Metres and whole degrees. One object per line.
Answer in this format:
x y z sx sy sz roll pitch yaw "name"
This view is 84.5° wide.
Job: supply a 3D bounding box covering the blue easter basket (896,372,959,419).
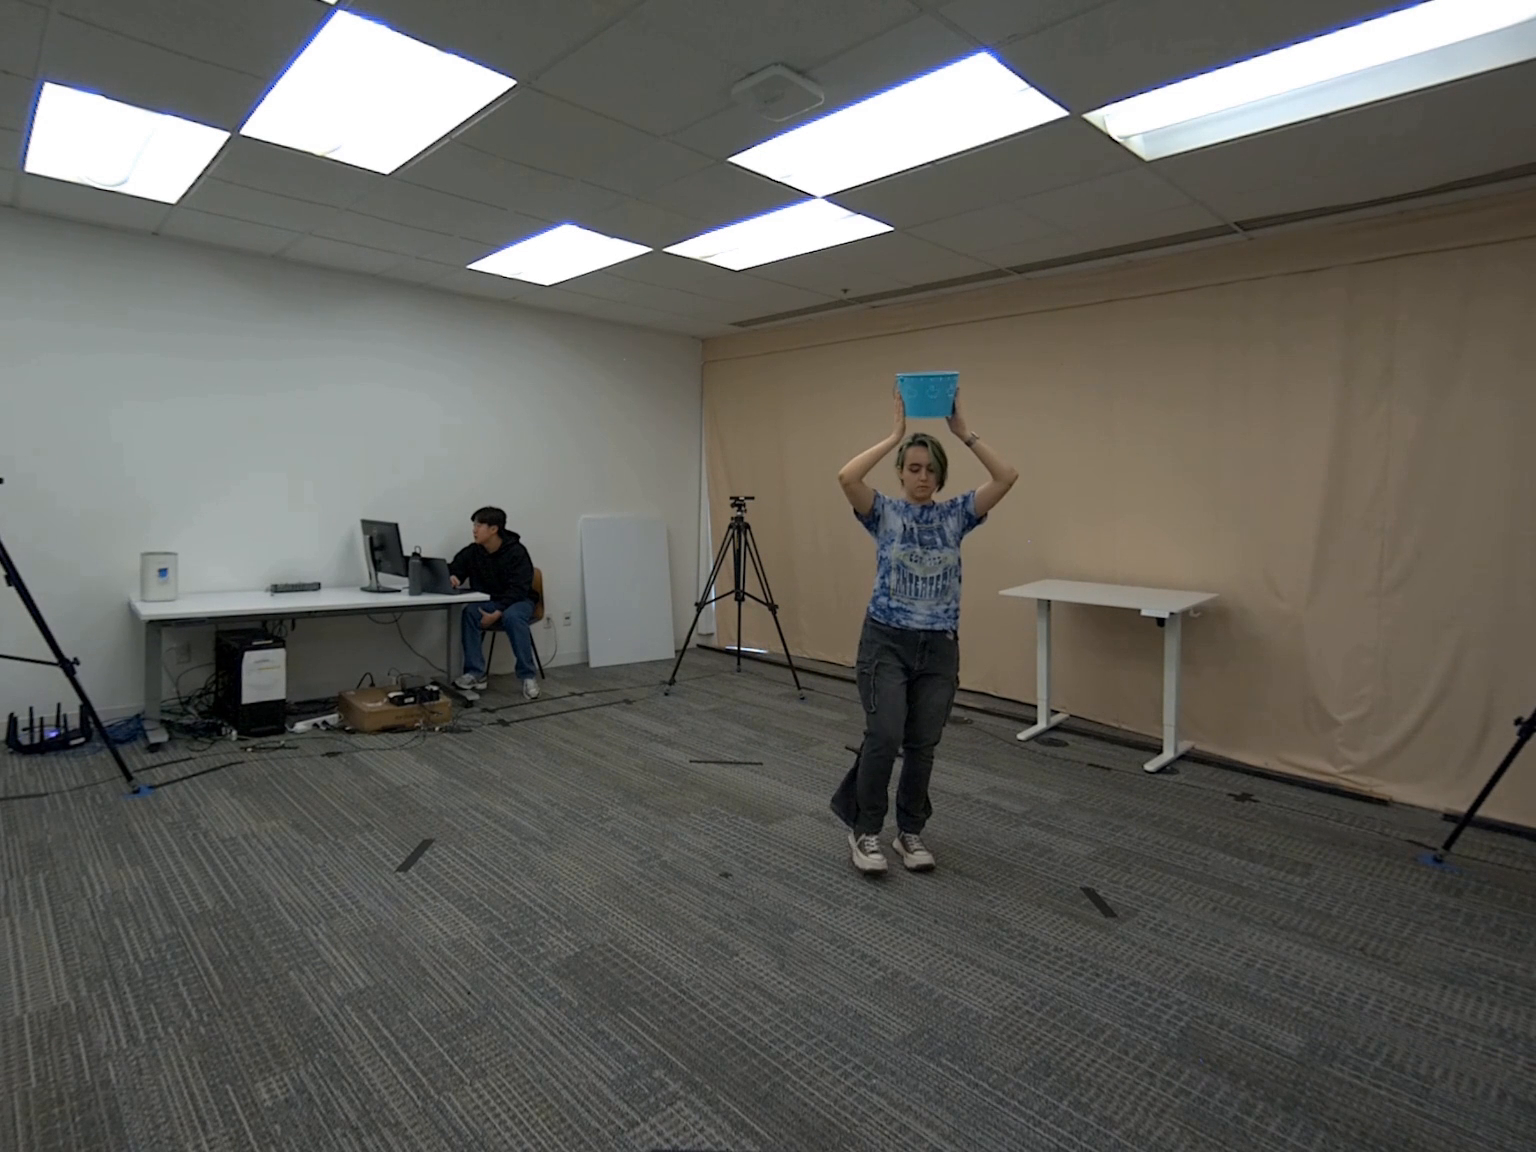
0.588 -0.666 3.081 0.243 0.154 0.246 -1 15 -1 "blue easter basket"
